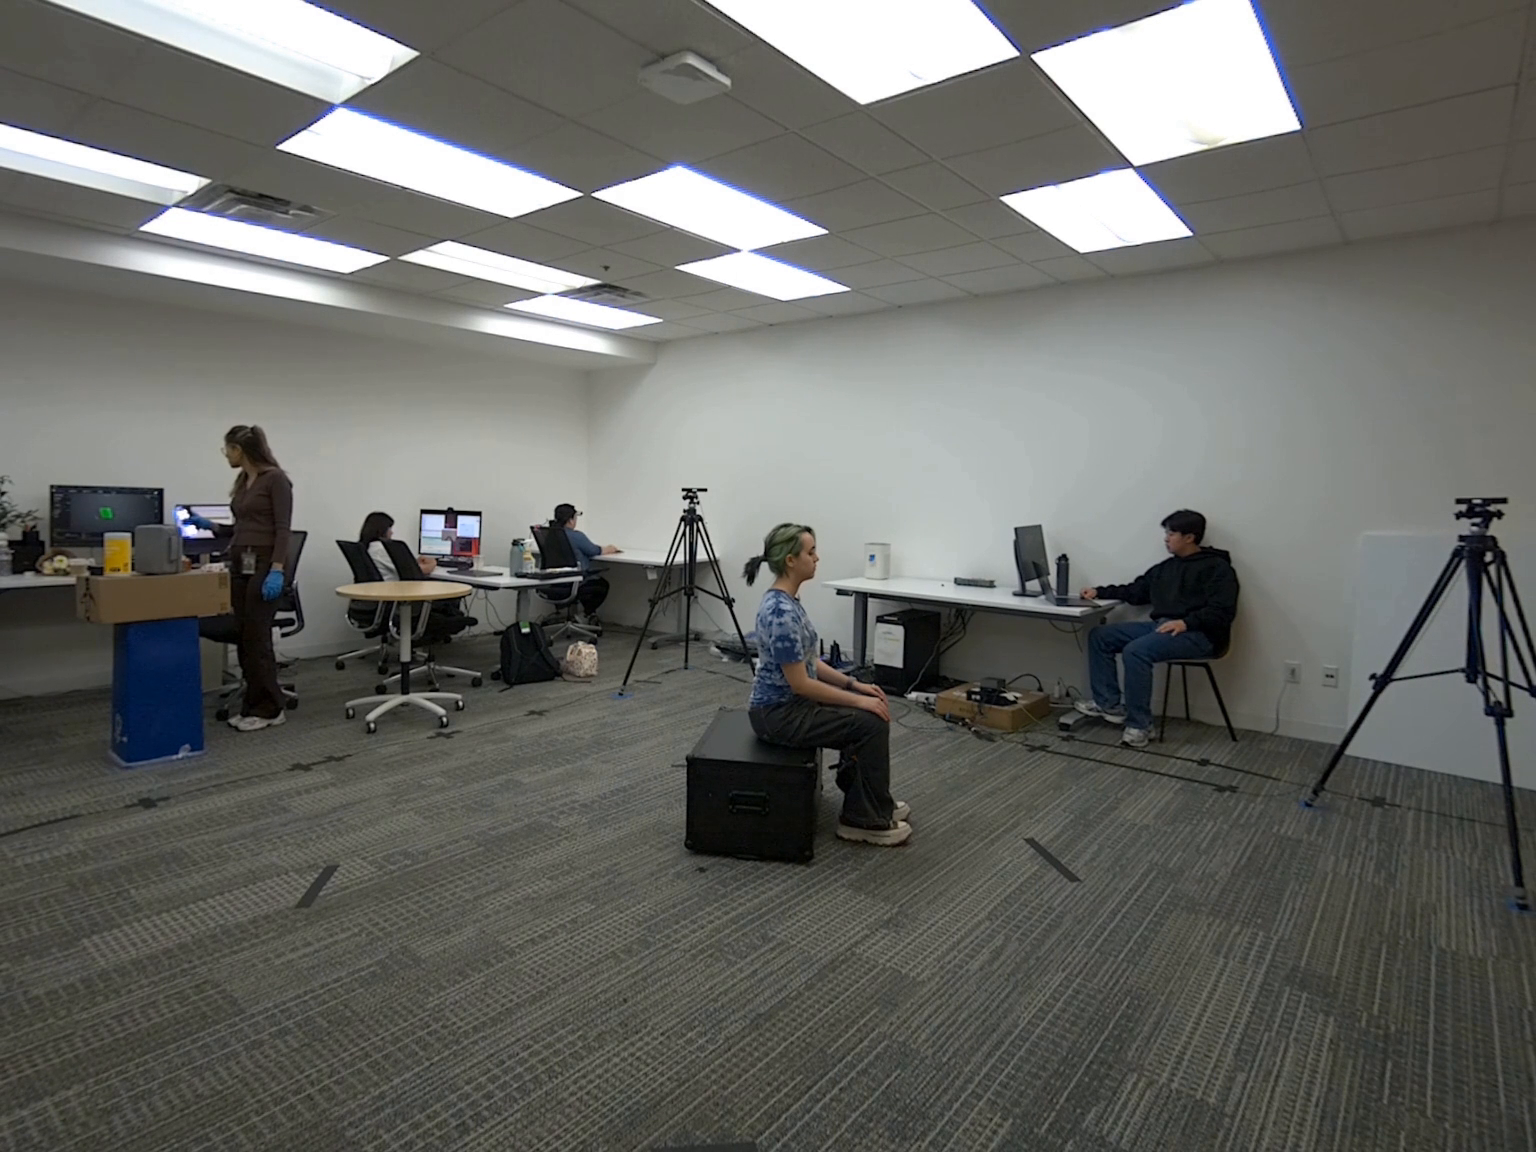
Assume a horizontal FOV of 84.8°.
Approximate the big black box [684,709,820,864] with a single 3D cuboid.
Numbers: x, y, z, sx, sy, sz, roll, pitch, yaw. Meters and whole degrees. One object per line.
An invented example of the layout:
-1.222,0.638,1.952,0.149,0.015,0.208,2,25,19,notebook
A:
-0.036,0.834,3.587,0.526,0.395,0.857,1,5,7,big black box
